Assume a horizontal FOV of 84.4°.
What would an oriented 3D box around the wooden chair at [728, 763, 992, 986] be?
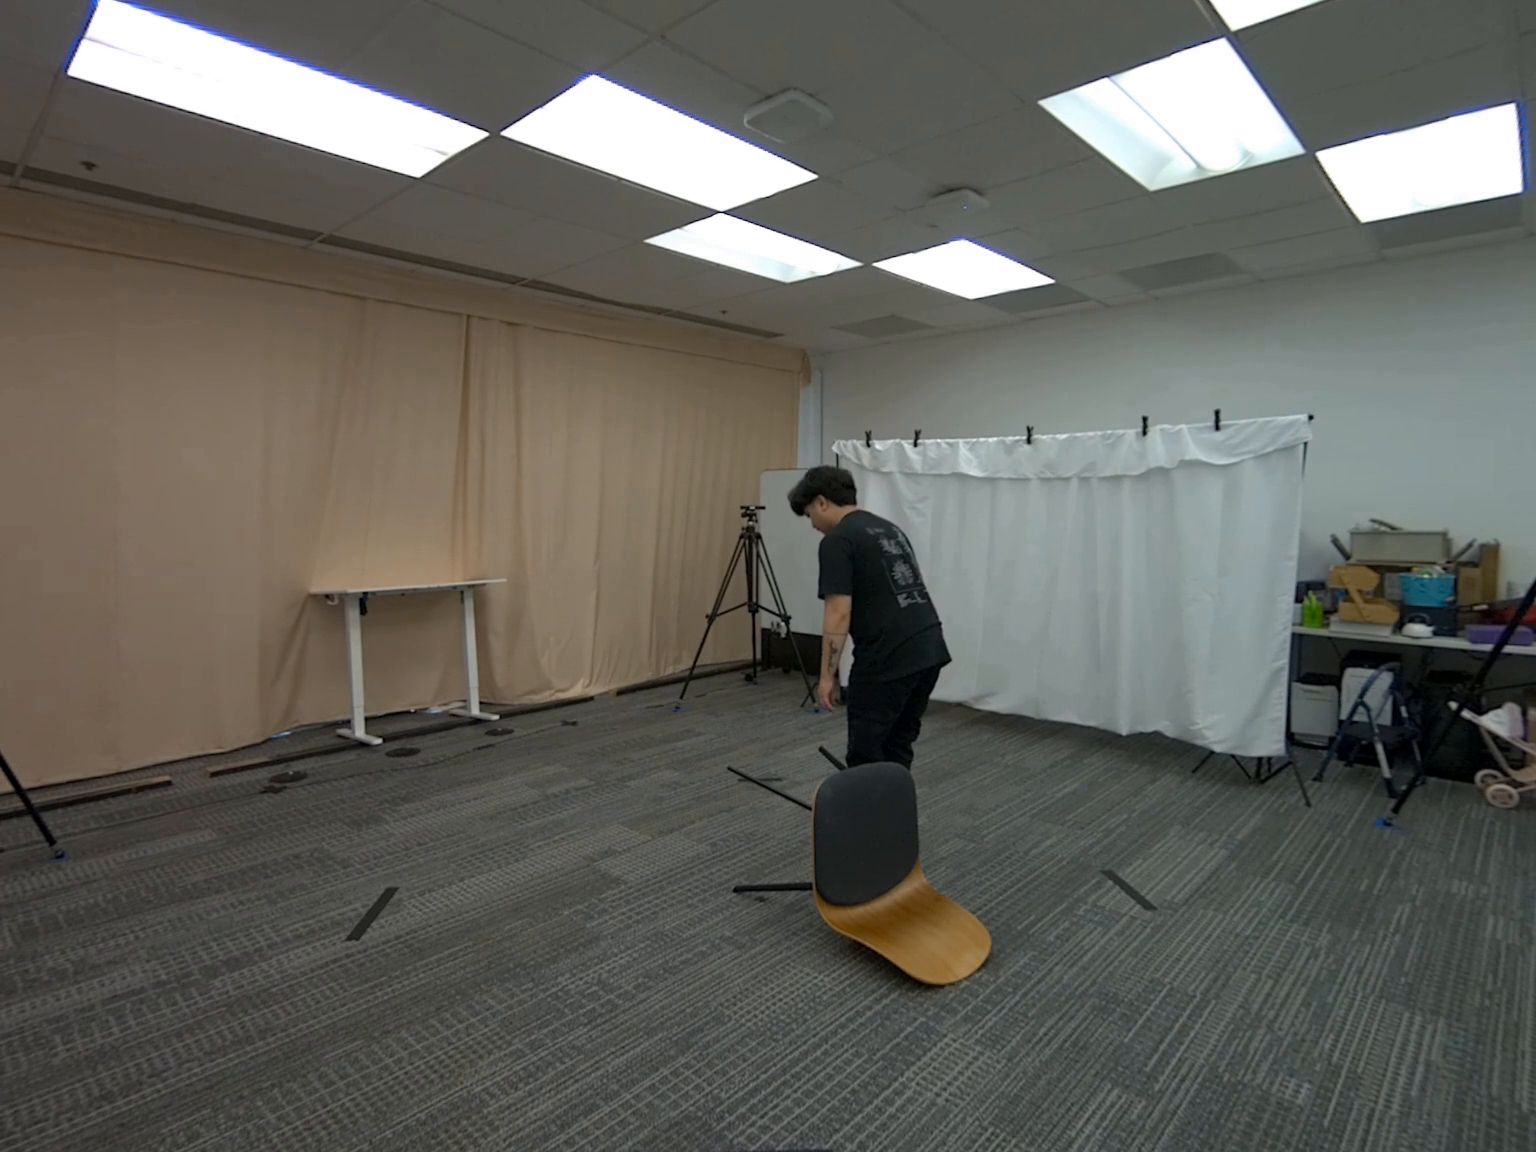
[{"bbox_3d":[0.303,0.903,2.811,0.464,0.522,0.906,-2,6,-36],"label":"wooden chair"}]
